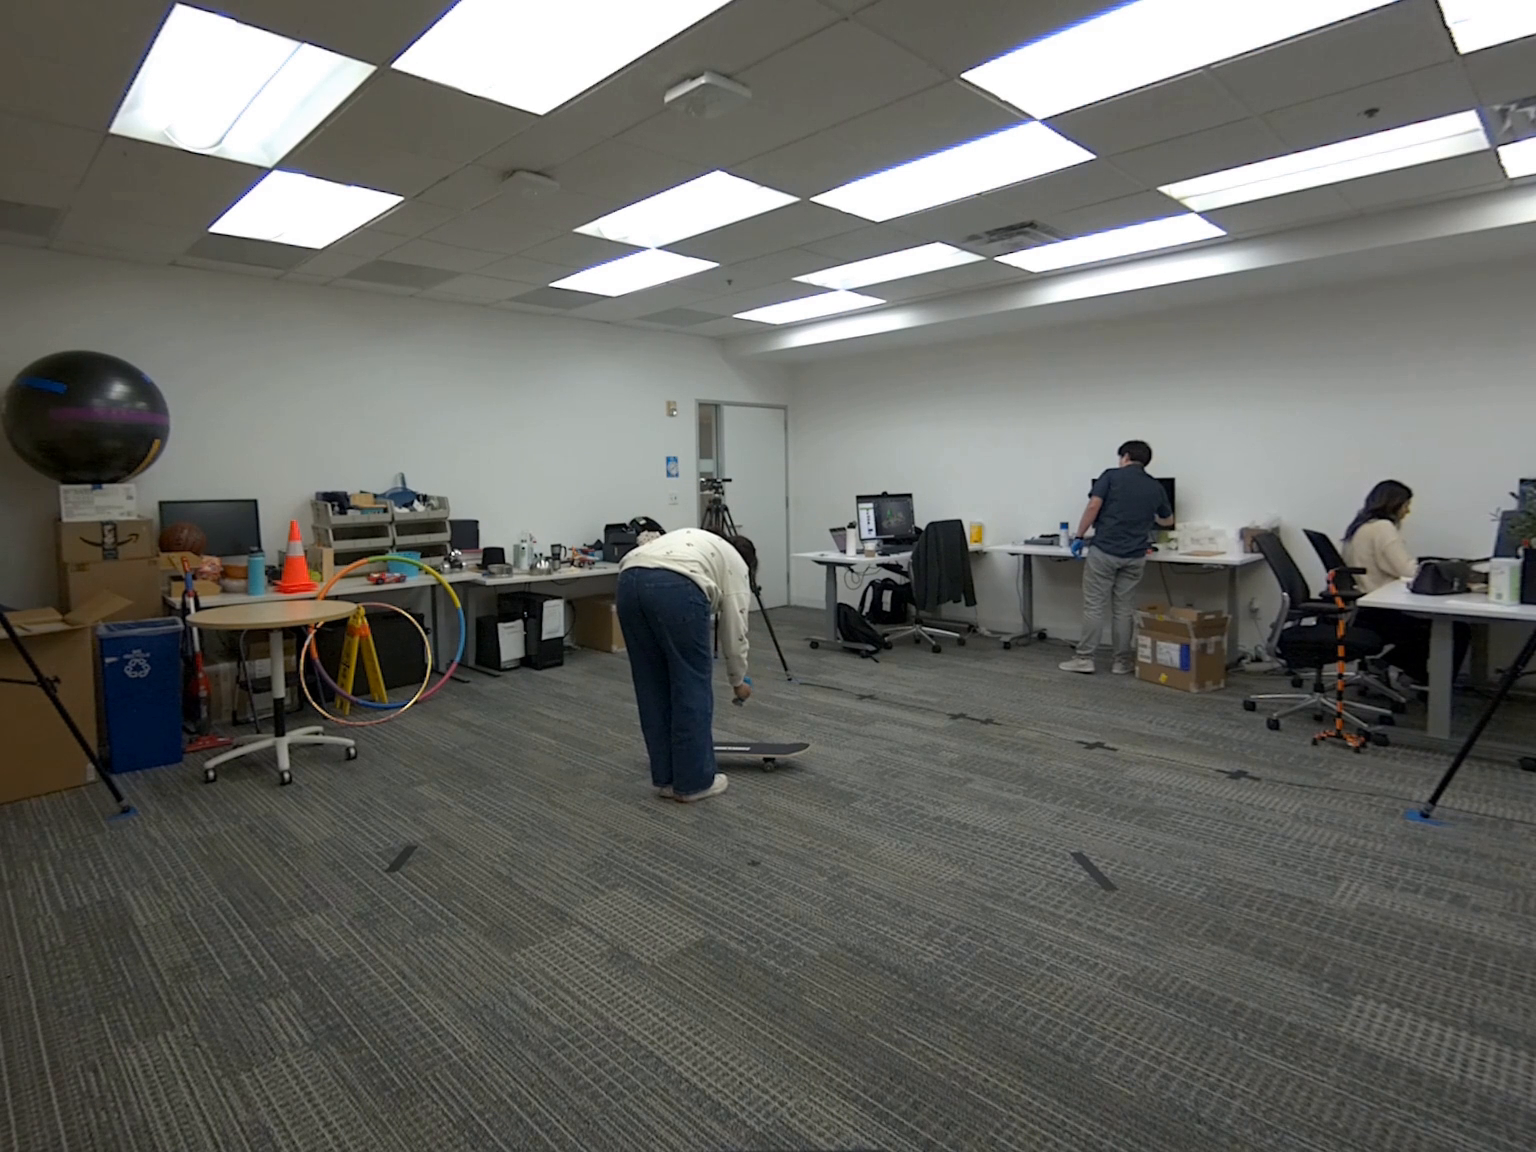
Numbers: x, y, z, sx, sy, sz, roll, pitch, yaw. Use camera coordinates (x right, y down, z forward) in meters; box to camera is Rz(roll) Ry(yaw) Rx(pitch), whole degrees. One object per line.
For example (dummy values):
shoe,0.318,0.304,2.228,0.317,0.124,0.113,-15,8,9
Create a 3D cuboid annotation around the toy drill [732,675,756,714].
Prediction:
toy drill,-0.116,0.567,4.145,0.062,0.147,0.166,17,-21,7
